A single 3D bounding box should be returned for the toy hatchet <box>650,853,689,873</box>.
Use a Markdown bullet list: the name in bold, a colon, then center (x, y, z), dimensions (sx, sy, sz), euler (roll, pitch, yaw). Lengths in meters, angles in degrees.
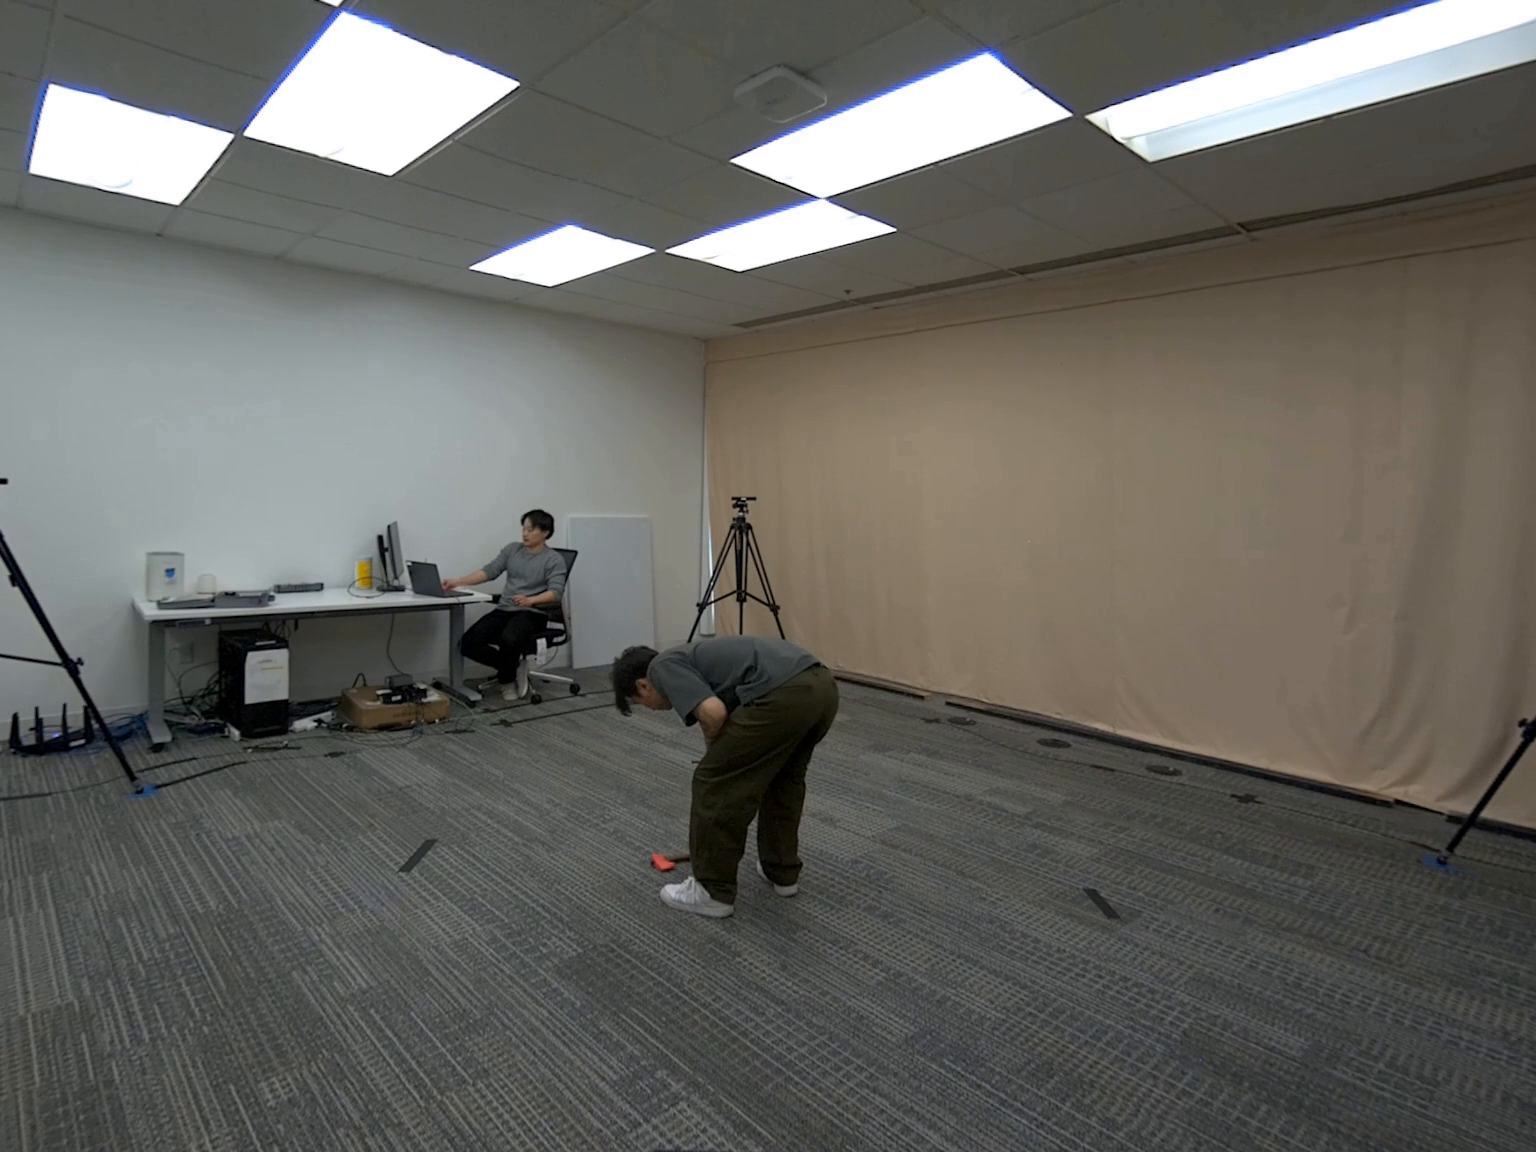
- **toy hatchet**: center (-0.317, 1.083, 3.181), dimensions (0.269, 0.029, 0.132), euler (2, 3, -4)
